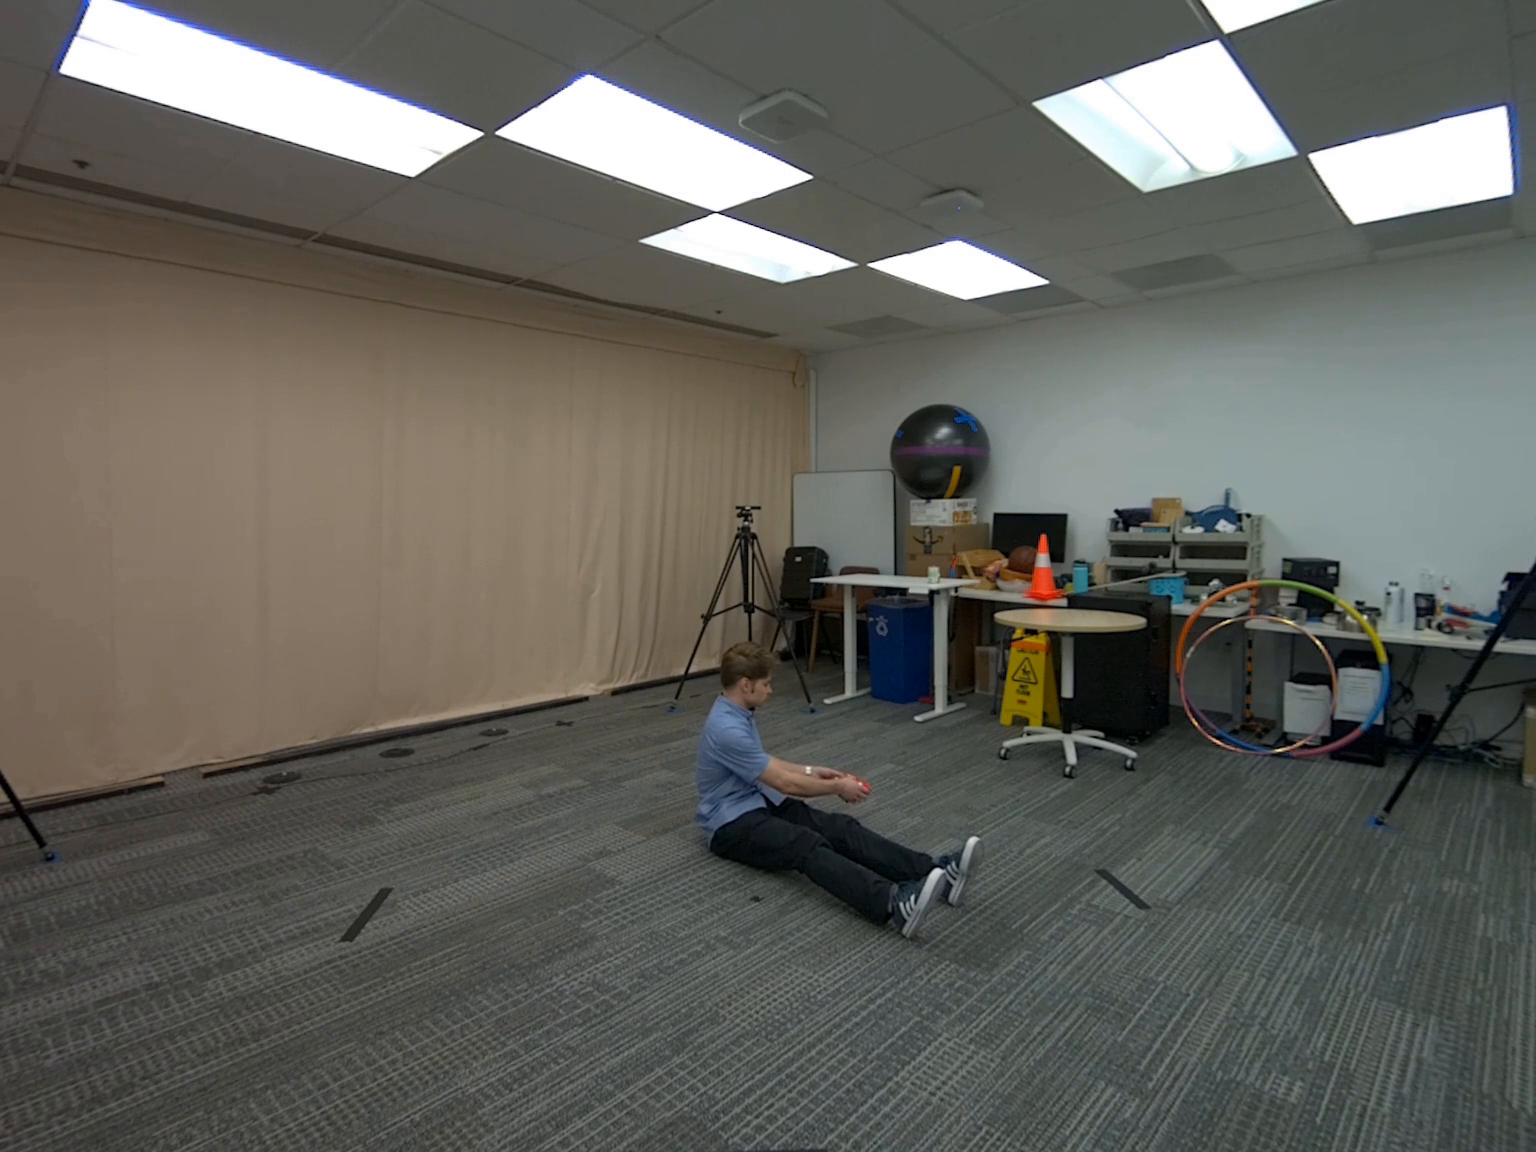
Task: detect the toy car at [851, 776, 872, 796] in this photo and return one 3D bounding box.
[{"bbox_3d":[0.353,0.905,3.587,0.128,0.083,0.258,-13,-2,-18],"label":"toy car"}]
